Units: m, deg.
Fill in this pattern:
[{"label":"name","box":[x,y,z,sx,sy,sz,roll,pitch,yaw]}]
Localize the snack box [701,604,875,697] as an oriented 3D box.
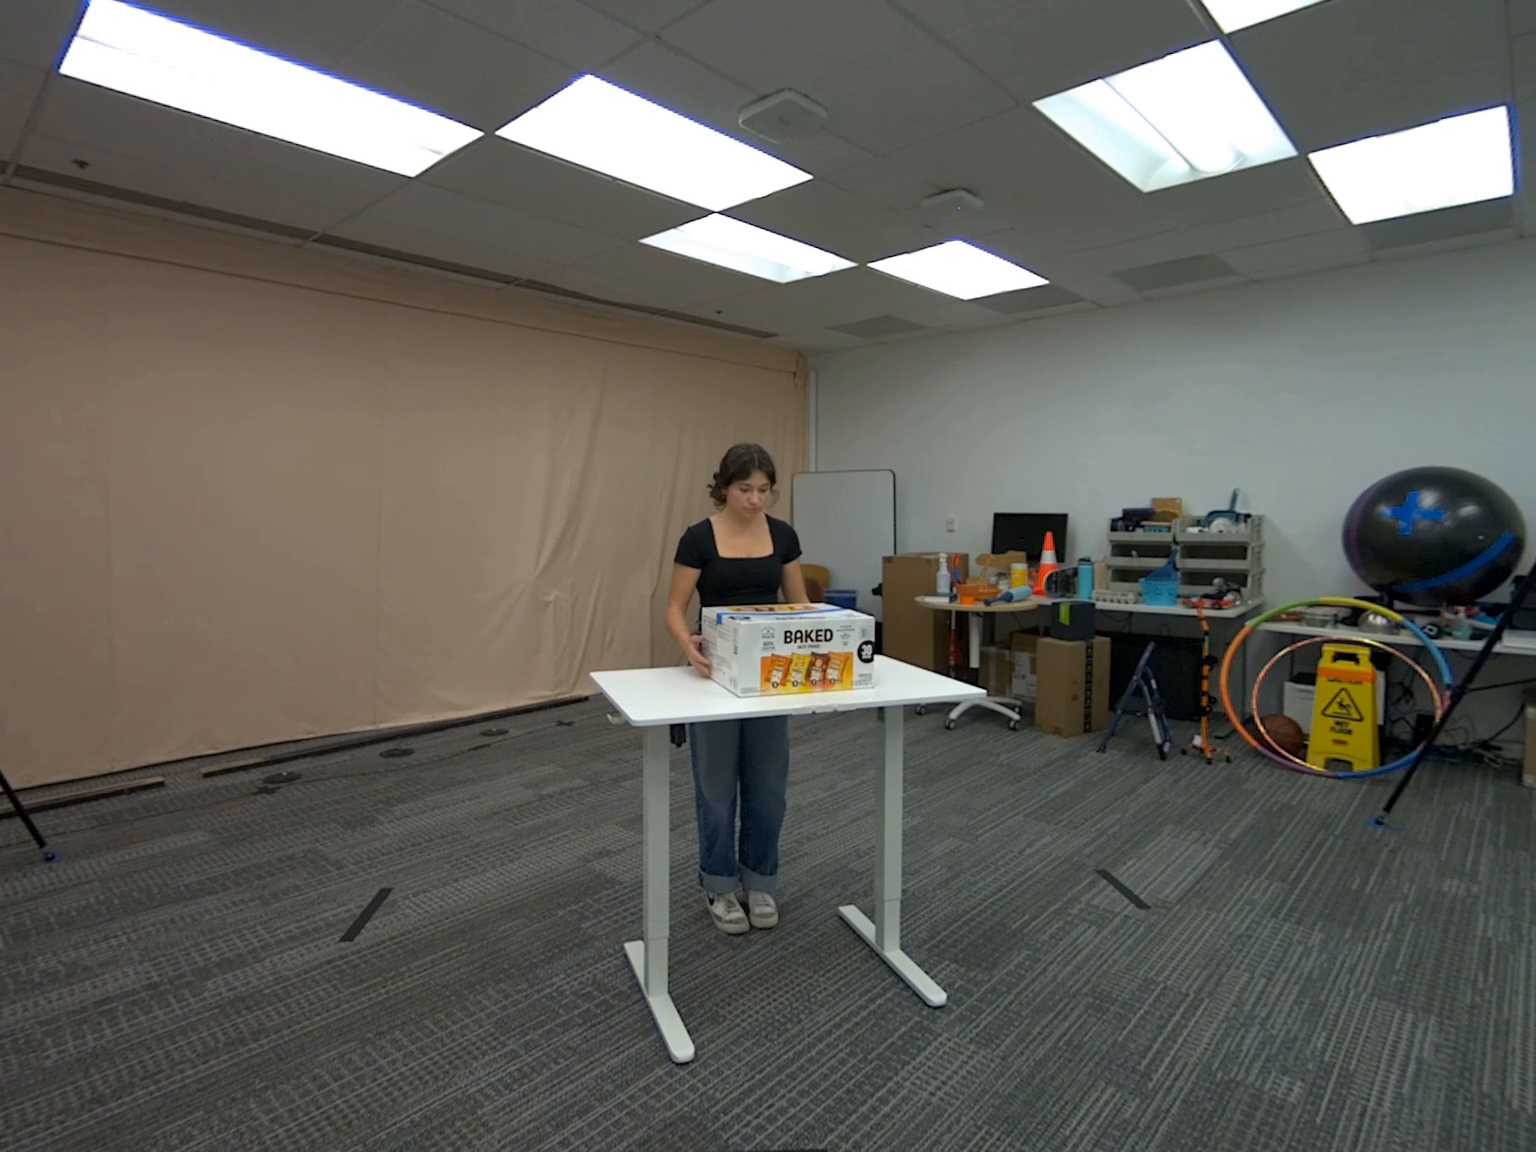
[{"label":"snack box","box":[0.050,0.206,2.451,0.397,0.205,0.348,-2,5,-20]}]
